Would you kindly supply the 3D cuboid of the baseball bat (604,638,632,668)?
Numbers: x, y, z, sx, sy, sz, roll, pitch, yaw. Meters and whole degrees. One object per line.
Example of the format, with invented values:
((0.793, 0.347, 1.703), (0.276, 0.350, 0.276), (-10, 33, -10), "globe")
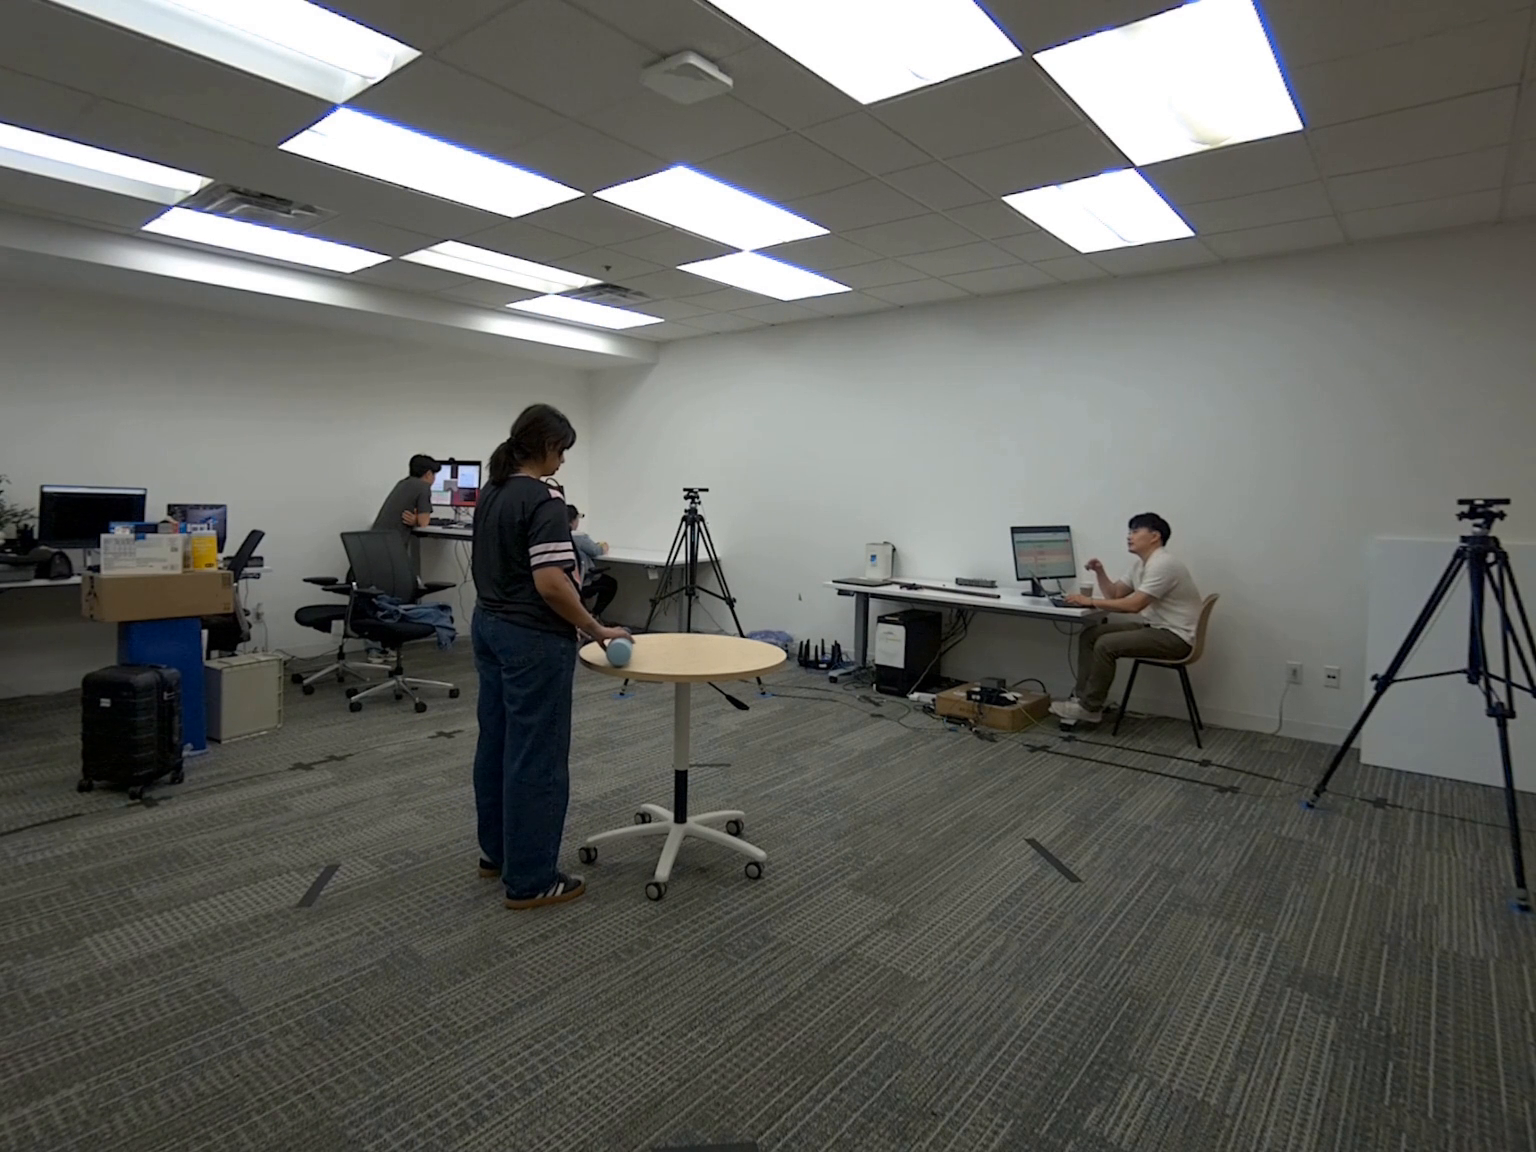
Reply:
((-0.553, 0.242, 3.090), (0.088, 0.089, 0.550), (0, 3, -11), "baseball bat")
